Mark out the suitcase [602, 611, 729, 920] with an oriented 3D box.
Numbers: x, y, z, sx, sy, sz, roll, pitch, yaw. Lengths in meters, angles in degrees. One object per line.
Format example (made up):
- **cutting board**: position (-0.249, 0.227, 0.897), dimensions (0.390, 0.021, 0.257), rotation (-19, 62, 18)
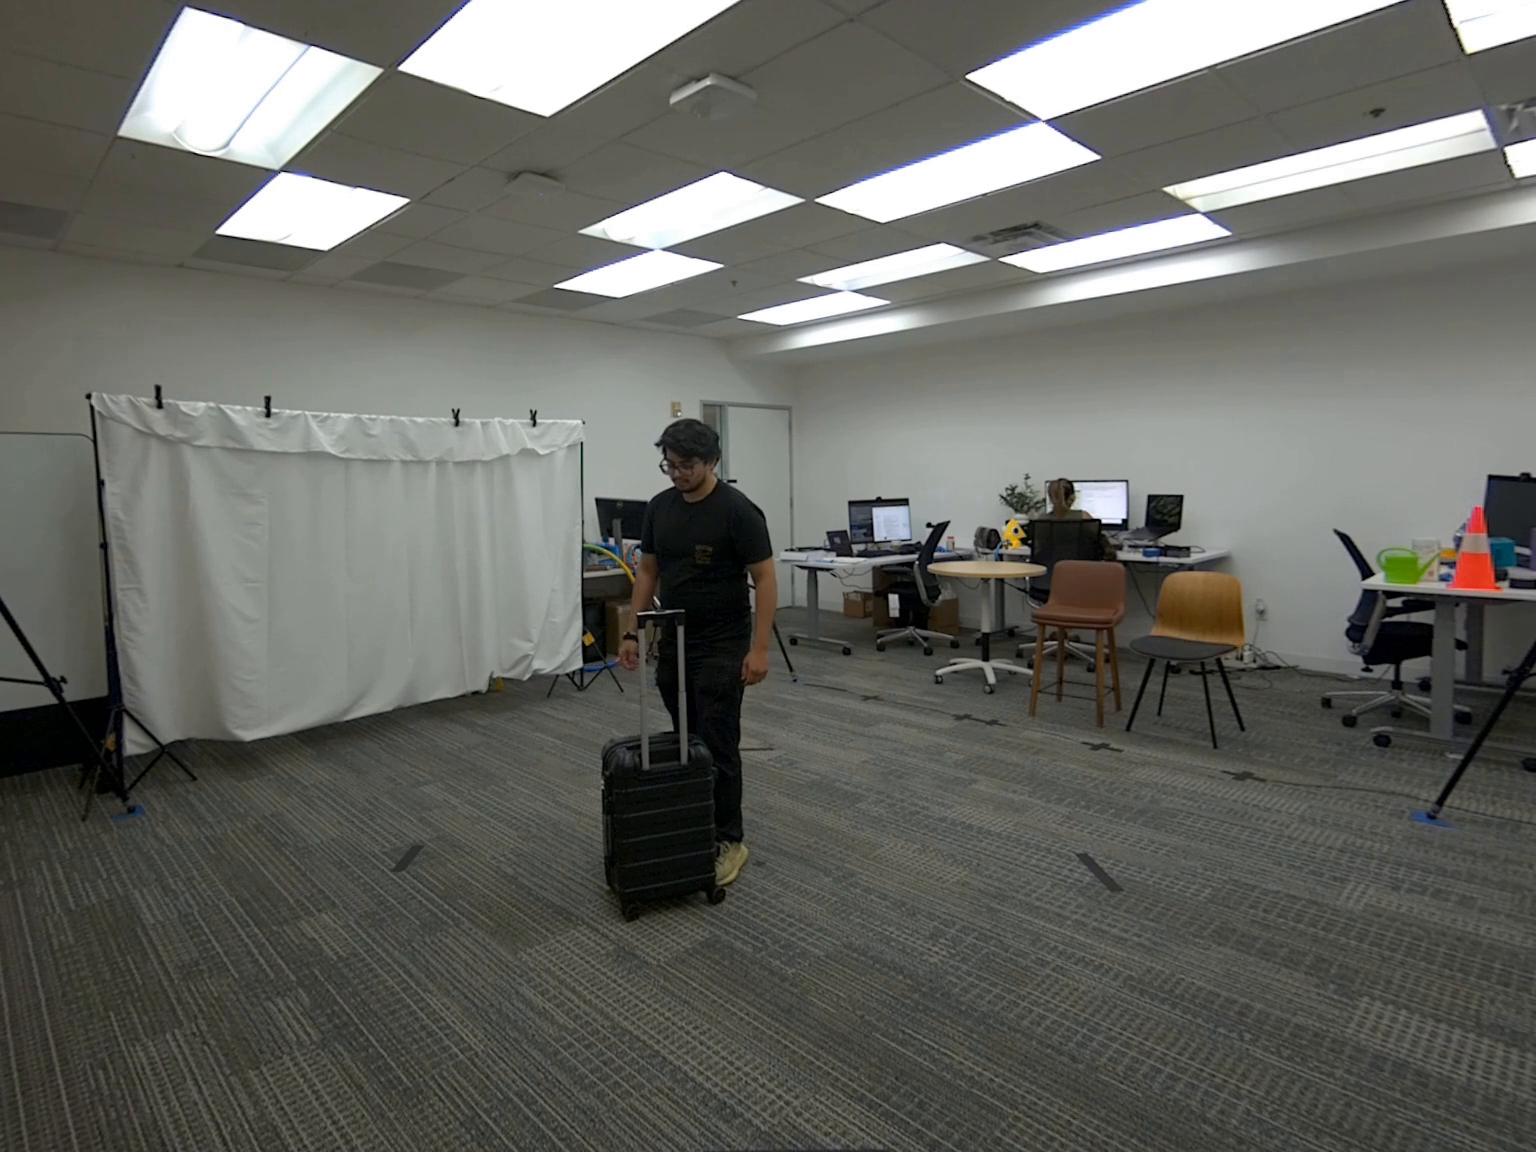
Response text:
- **suitcase**: position (-0.377, 0.605, 2.839), dimensions (0.378, 0.976, 0.262), rotation (-3, 3, -18)
